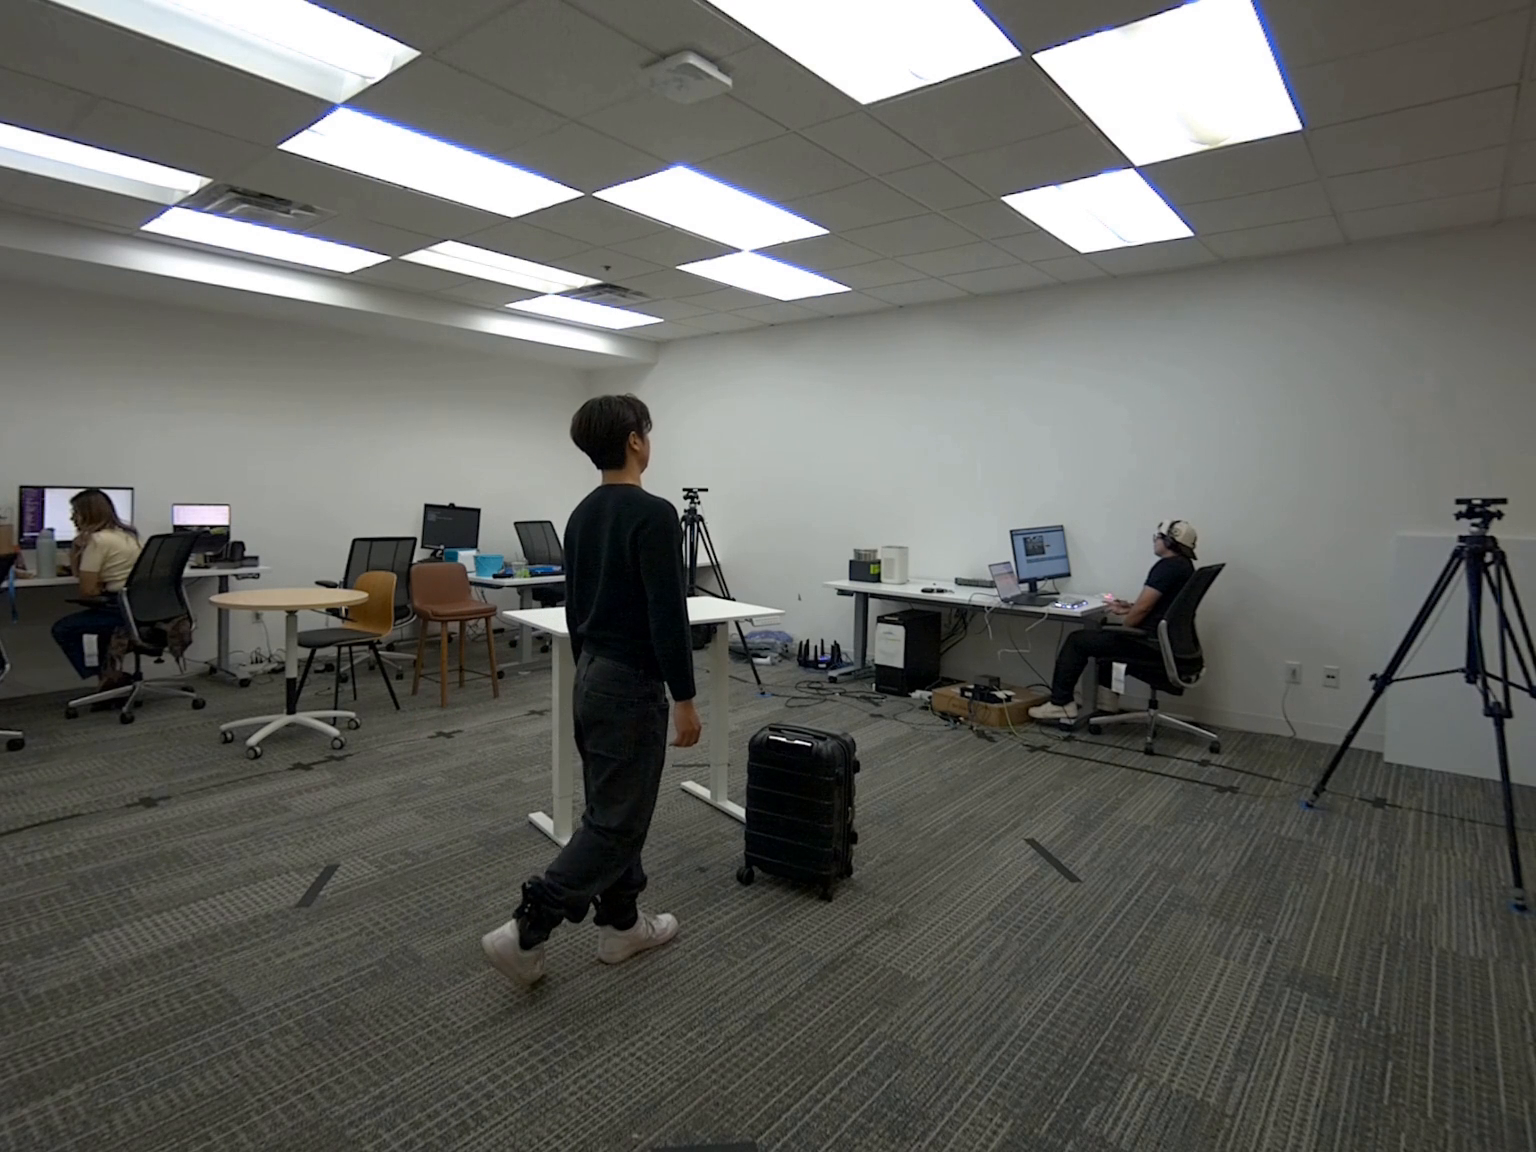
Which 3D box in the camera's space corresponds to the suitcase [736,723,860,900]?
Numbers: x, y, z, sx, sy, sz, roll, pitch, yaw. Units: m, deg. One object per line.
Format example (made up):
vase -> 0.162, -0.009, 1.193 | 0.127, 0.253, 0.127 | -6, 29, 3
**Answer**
suitcase -> 0.108, 0.804, 3.033 | 0.386, 0.548, 0.242 | 3, 3, 28
